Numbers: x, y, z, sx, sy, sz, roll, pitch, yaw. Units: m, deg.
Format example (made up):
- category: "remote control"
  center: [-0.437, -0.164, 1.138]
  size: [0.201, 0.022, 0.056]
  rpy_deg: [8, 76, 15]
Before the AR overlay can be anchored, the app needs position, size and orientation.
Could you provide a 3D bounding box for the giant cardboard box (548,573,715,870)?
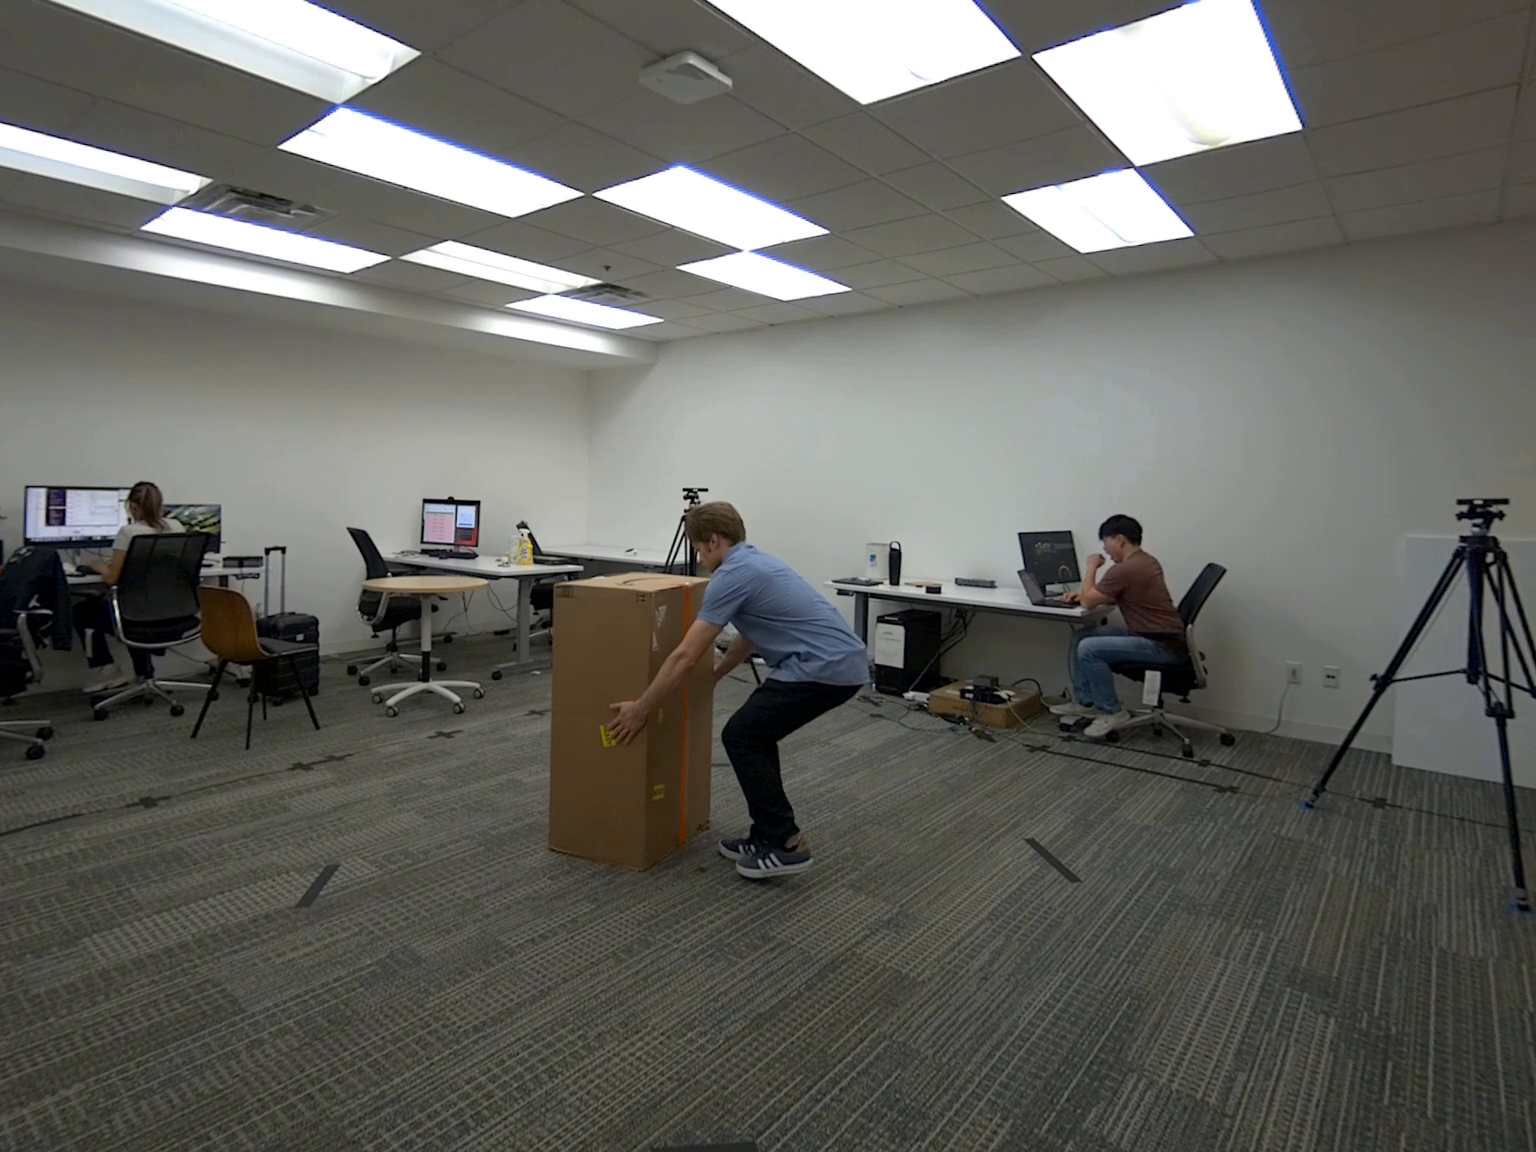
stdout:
- category: "giant cardboard box"
  center: [-0.538, 0.525, 3.399]
  size: [0.437, 1.023, 0.565]
  rpy_deg: [3, 3, 23]
